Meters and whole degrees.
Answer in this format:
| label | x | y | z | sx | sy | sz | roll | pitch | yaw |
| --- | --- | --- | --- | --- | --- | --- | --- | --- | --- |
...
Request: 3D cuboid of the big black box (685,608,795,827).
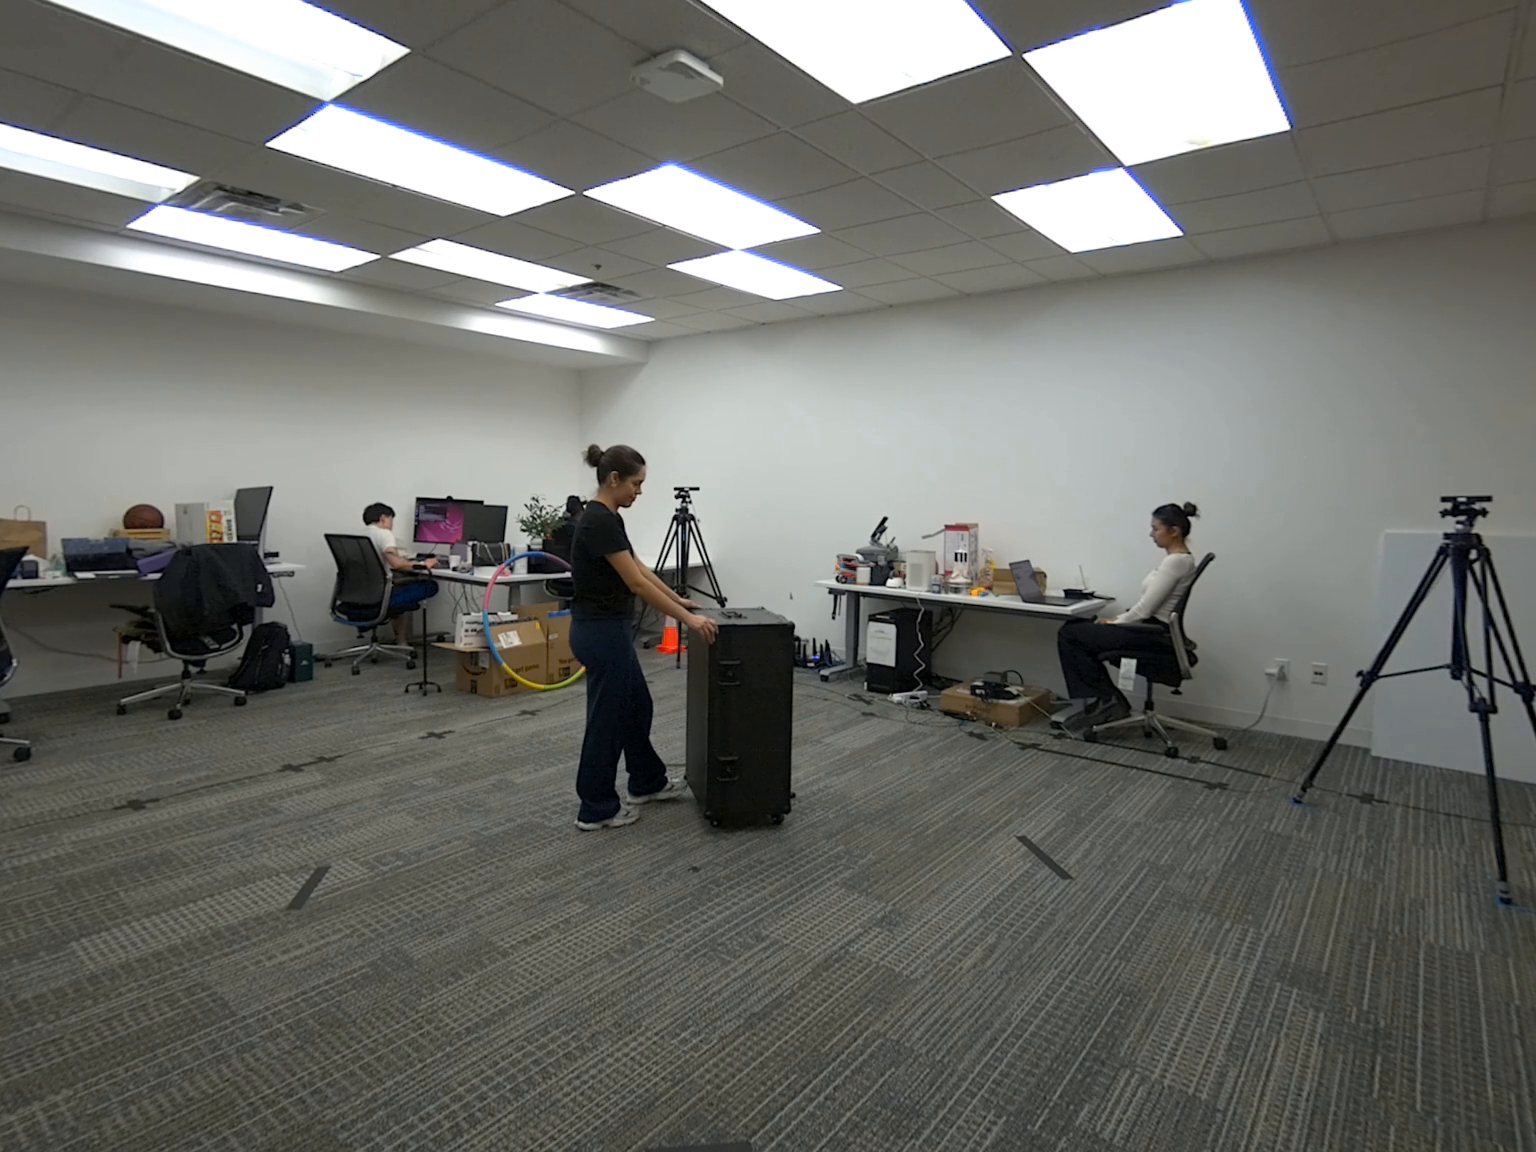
| label | x | y | z | sx | sy | sz | roll | pitch | yaw |
| --- | --- | --- | --- | --- | --- | --- | --- | --- | --- |
| big black box | -0.107 | 0.592 | 3.661 | 0.391 | 0.859 | 0.530 | 1 | 3 | -14 |
